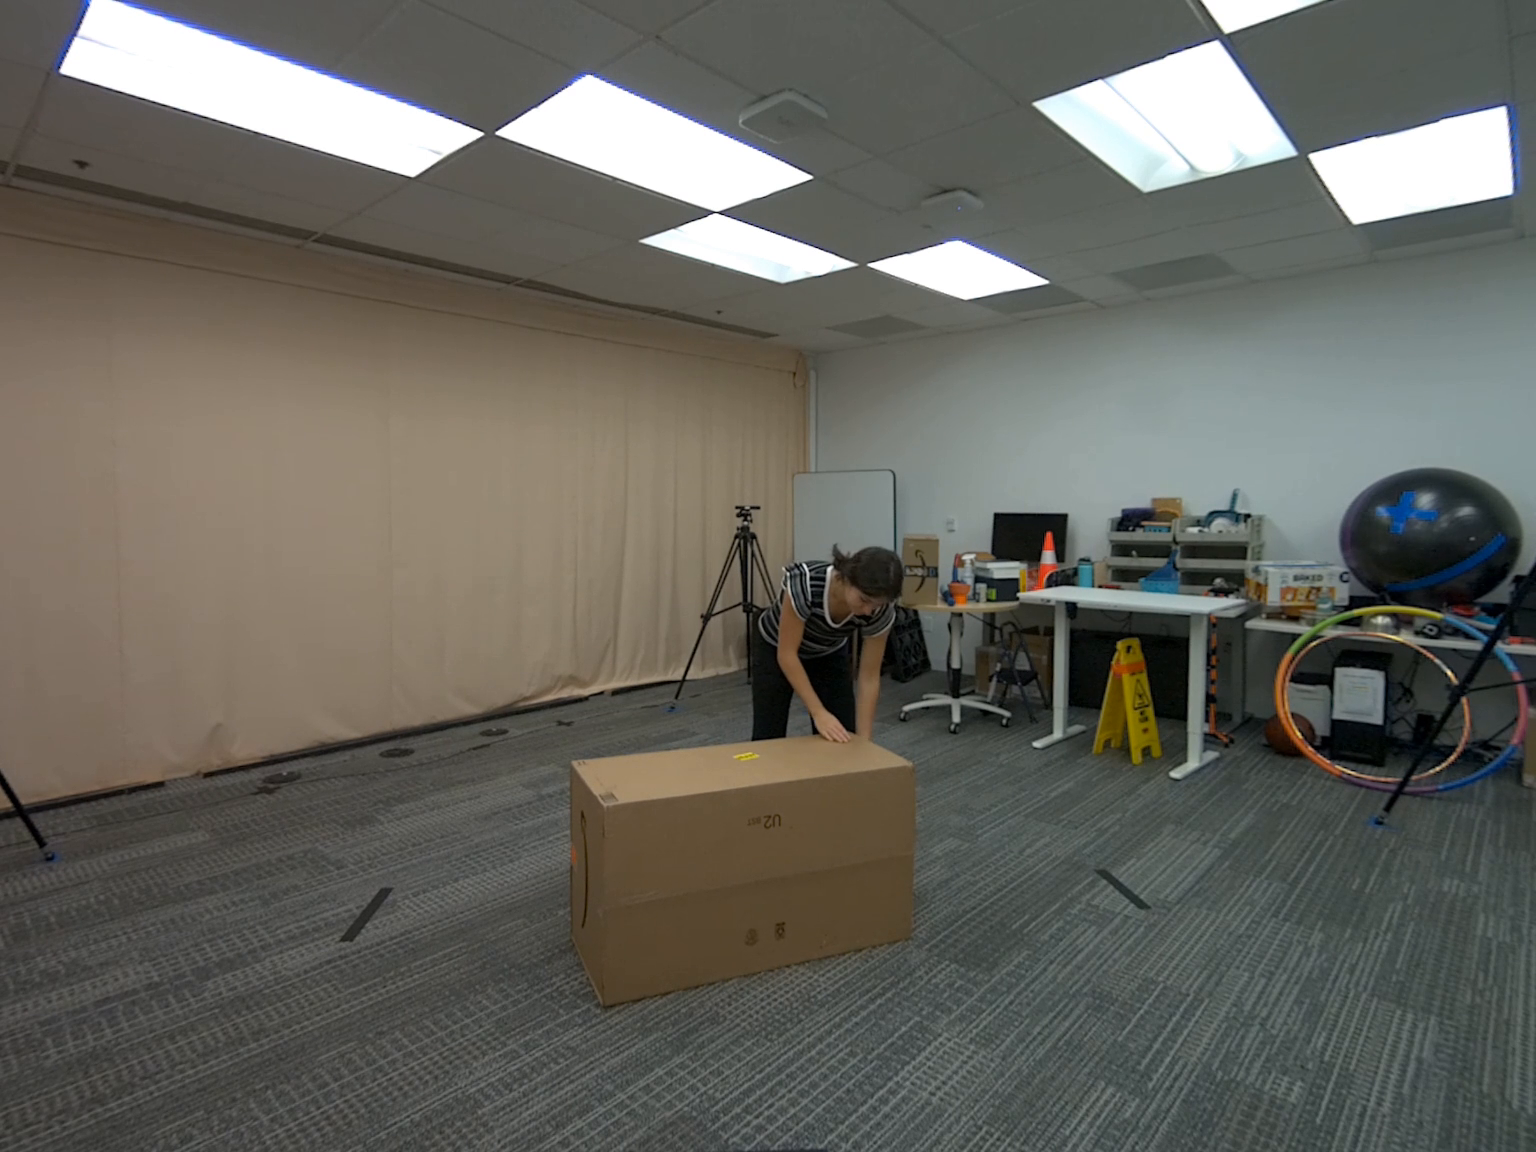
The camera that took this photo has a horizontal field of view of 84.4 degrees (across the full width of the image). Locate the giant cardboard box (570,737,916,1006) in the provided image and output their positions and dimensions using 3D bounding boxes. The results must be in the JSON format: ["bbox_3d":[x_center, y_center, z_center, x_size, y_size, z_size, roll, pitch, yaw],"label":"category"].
[{"bbox_3d":[-0.088,0.883,2.691,1.004,0.576,0.436,-1,4,-22],"label":"giant cardboard box"}]
